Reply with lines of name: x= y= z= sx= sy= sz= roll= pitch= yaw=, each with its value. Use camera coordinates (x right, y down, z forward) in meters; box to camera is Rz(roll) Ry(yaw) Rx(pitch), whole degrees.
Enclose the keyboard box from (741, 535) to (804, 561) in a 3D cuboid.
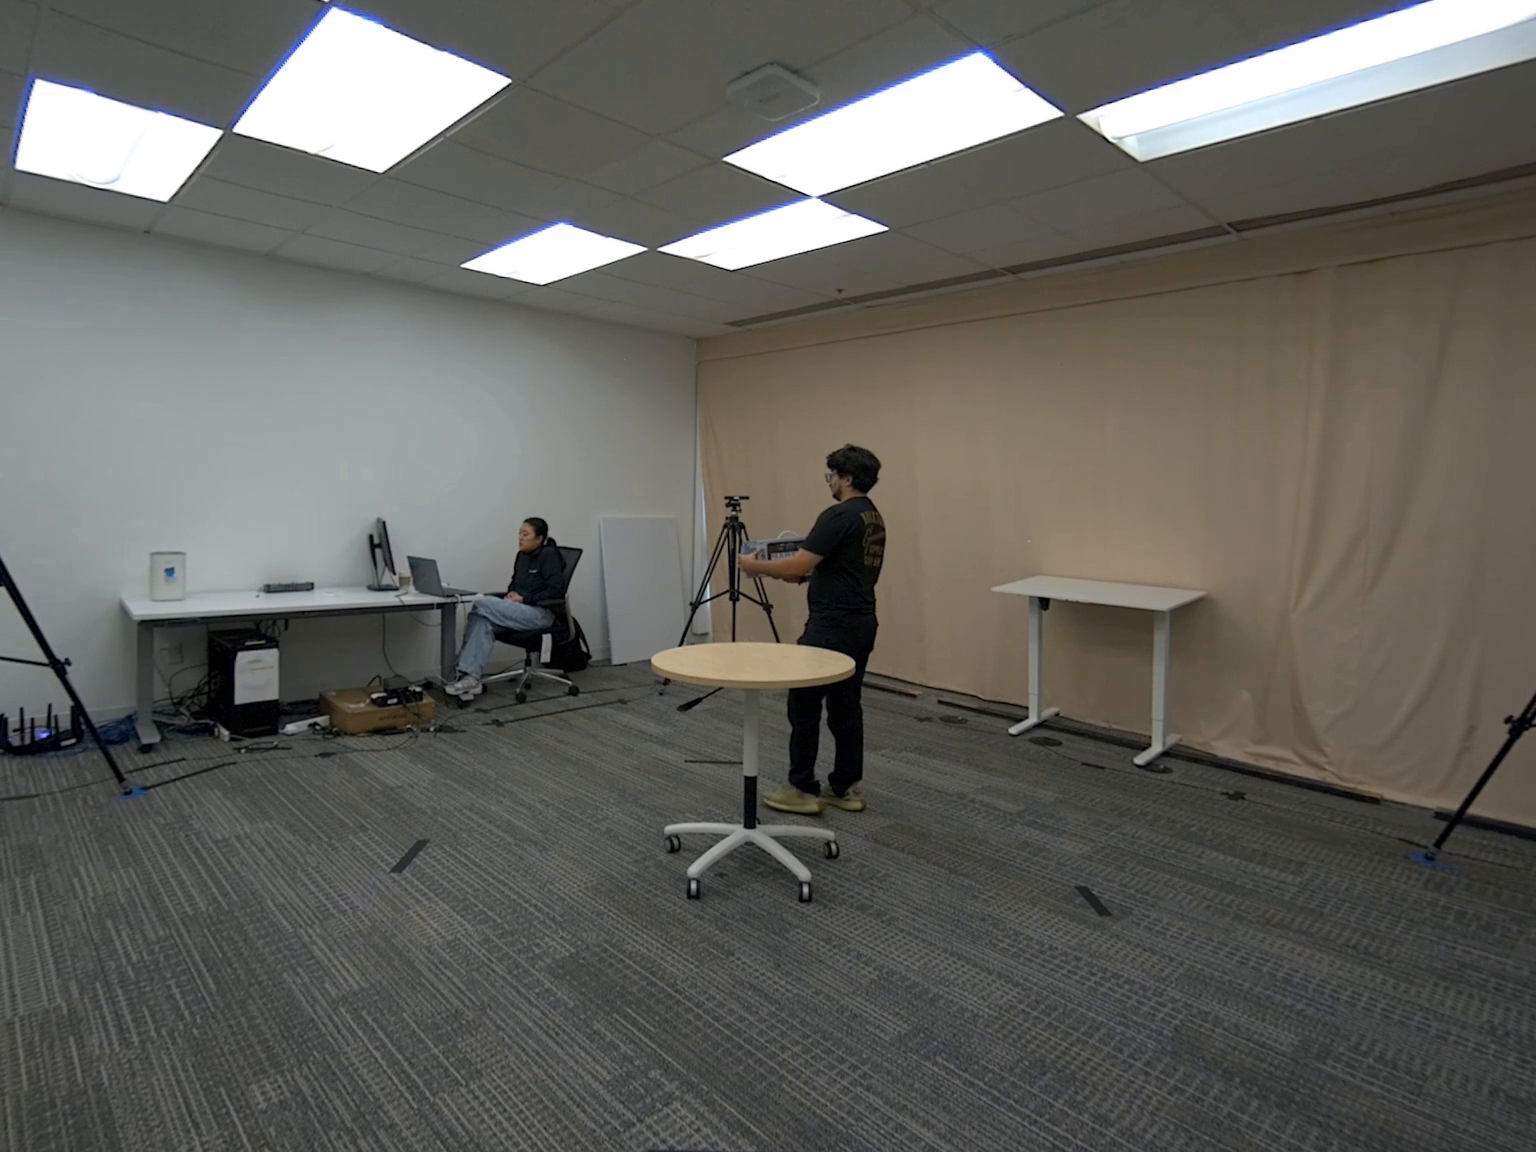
keyboard box: x=0.106 y=-0.092 z=3.976 sx=0.433 sy=0.176 sz=0.059 roll=-6 pitch=0 yaw=-11
